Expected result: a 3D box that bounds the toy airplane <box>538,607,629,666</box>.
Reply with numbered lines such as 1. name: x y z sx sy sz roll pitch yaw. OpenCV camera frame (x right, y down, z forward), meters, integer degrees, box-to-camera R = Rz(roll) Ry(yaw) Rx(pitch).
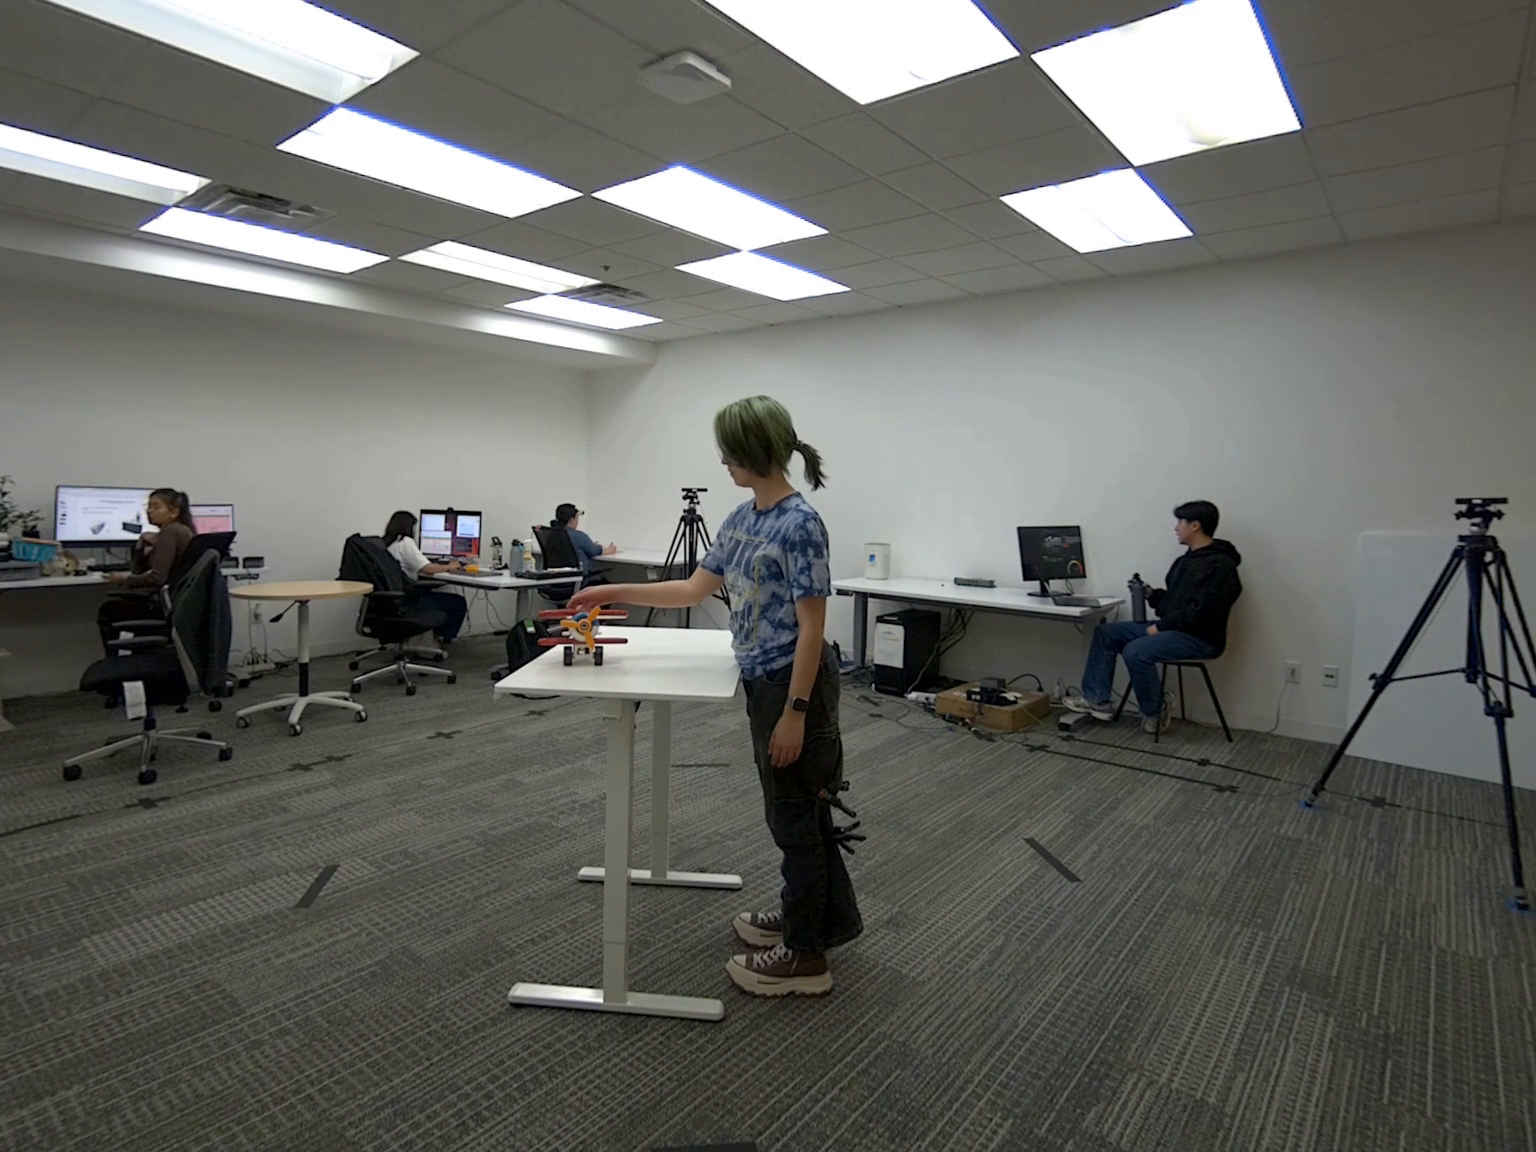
1. toy airplane: -0.569 0.166 2.490 0.244 0.156 0.268 -3 7 -36
